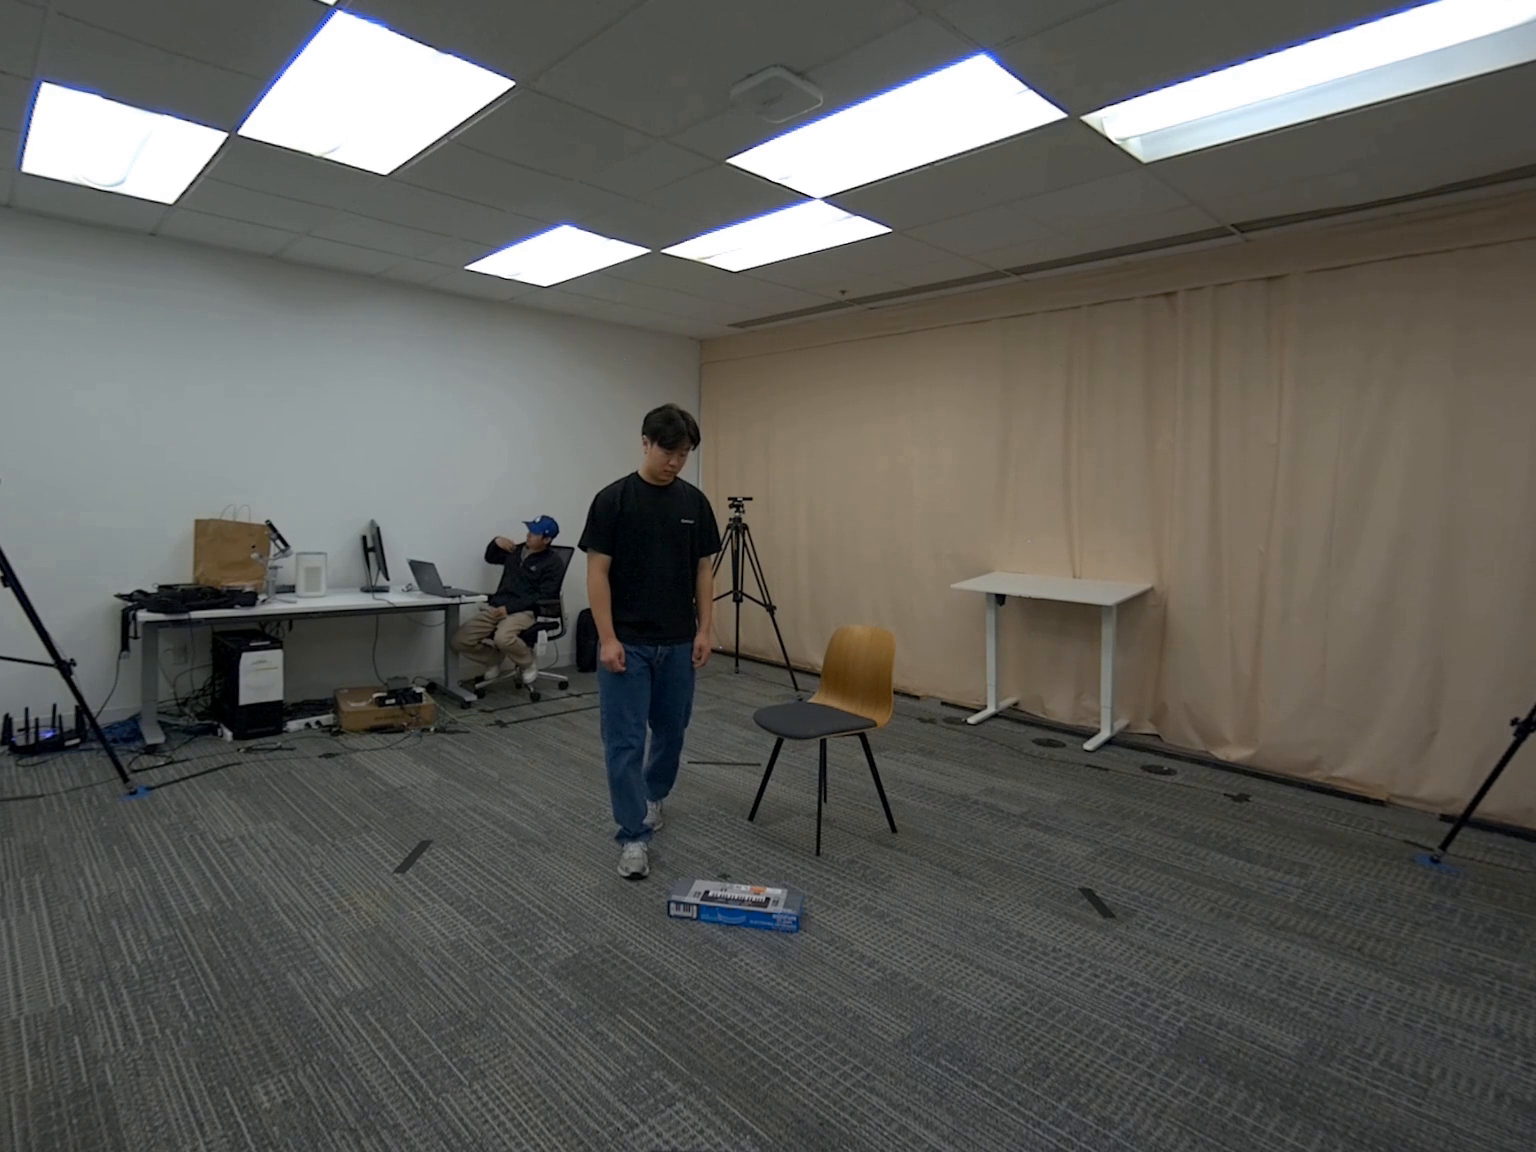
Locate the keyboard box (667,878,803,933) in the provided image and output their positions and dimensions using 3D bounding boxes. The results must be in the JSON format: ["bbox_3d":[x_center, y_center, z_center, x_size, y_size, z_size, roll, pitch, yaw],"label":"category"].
[{"bbox_3d":[-0.111,1.105,2.827,0.441,0.059,0.175,2,5,11],"label":"keyboard box"}]
